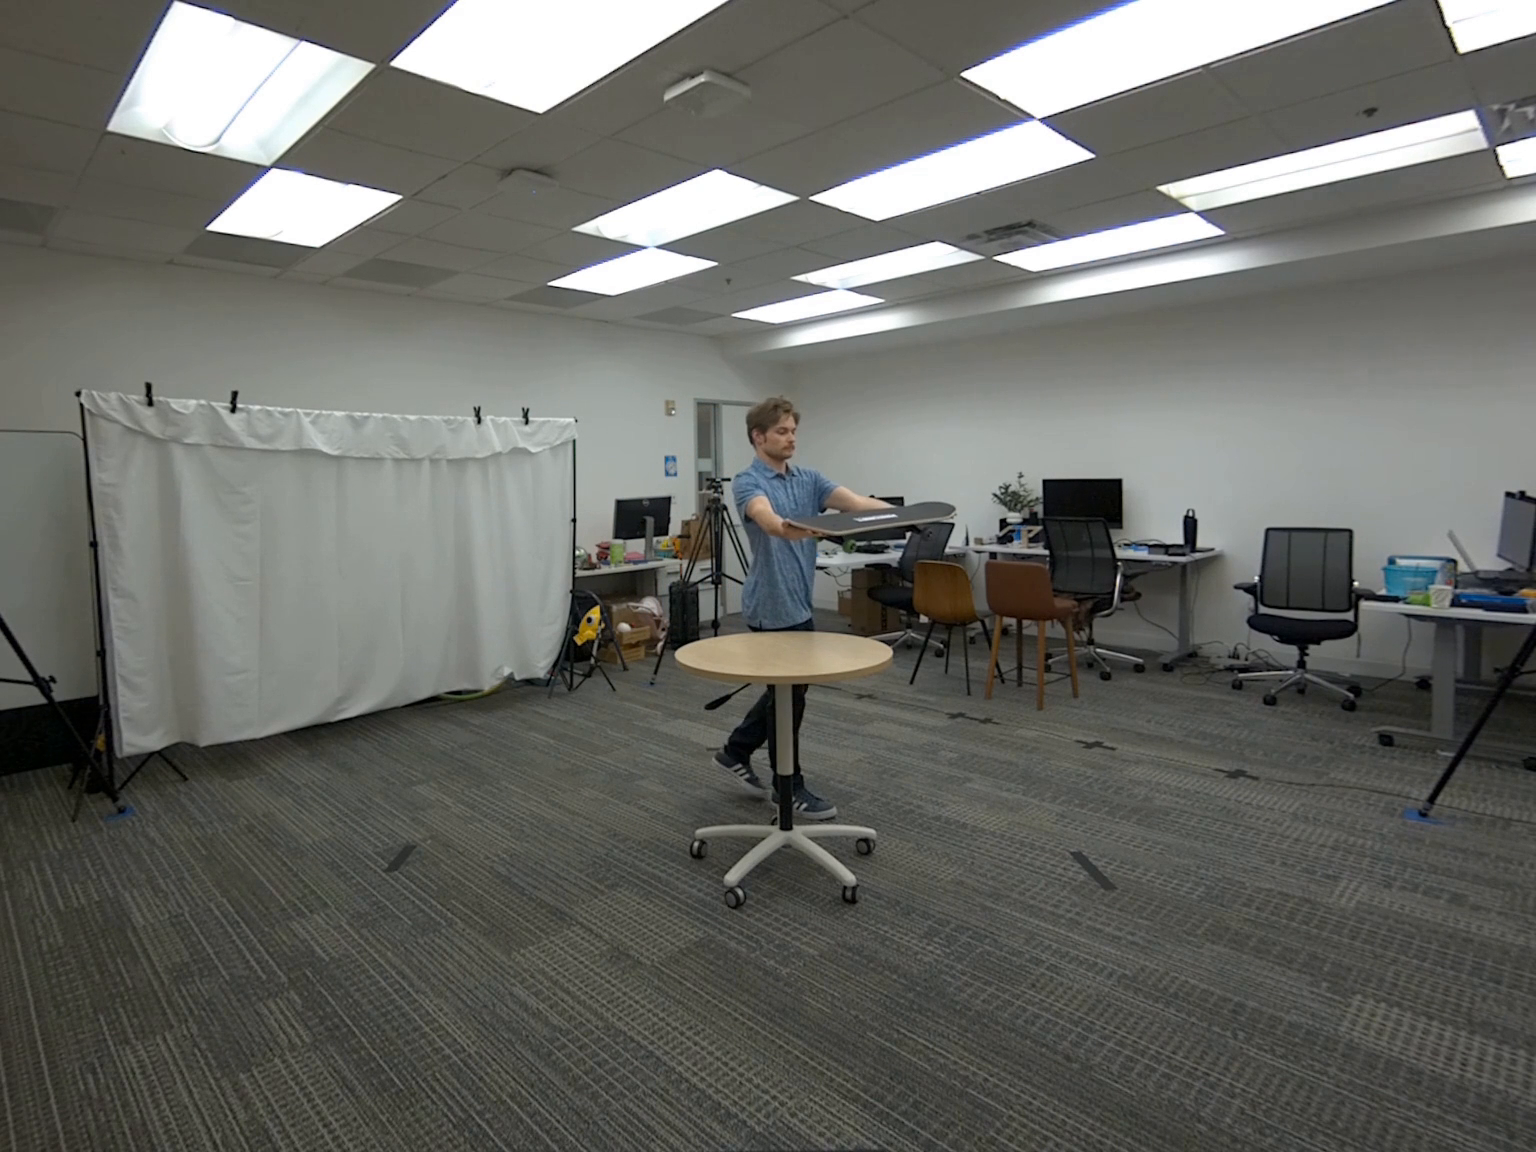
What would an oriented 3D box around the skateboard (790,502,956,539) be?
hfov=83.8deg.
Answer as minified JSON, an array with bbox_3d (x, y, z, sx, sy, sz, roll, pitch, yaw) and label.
[{"bbox_3d":[0.385,-0.174,3.066,0.767,0.109,0.201,-9,23,-36],"label":"skateboard"}]
